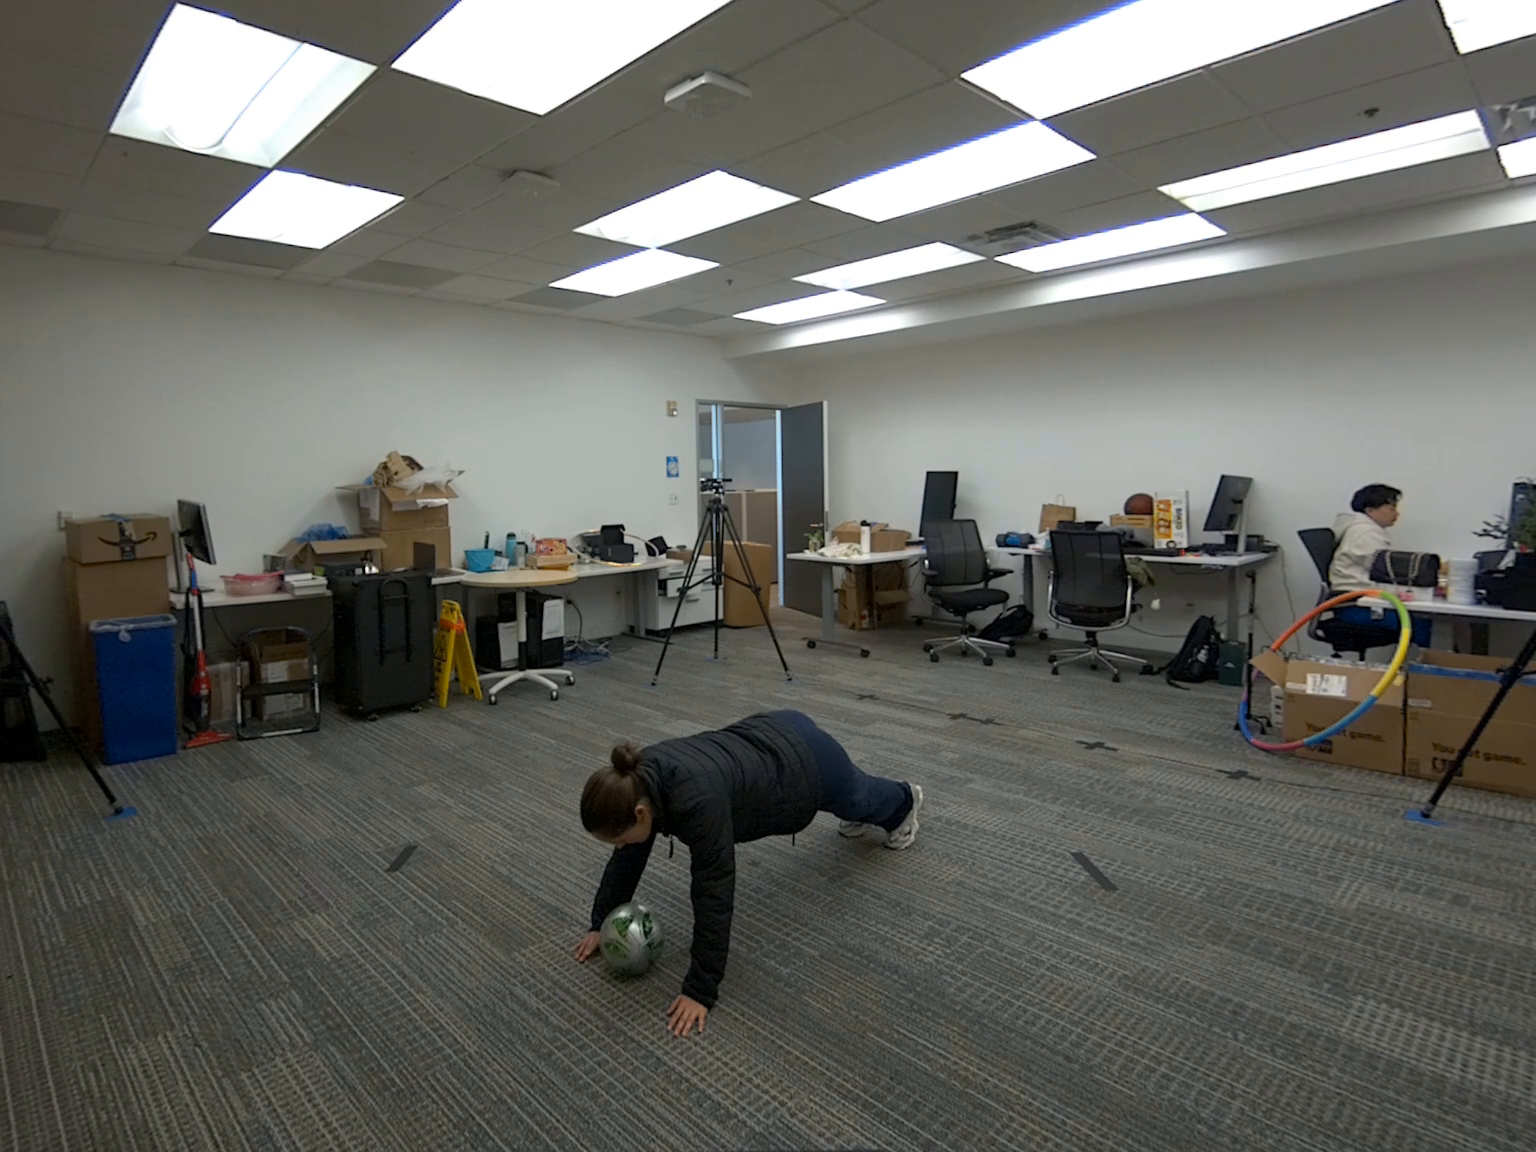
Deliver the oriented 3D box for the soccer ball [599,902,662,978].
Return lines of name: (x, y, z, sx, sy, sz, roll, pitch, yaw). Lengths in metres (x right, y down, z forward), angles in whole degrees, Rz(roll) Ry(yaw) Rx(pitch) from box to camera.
soccer ball: (-0.383, 1.042, 2.435, 0.187, 0.187, 0.188, -1, 5, -2)
